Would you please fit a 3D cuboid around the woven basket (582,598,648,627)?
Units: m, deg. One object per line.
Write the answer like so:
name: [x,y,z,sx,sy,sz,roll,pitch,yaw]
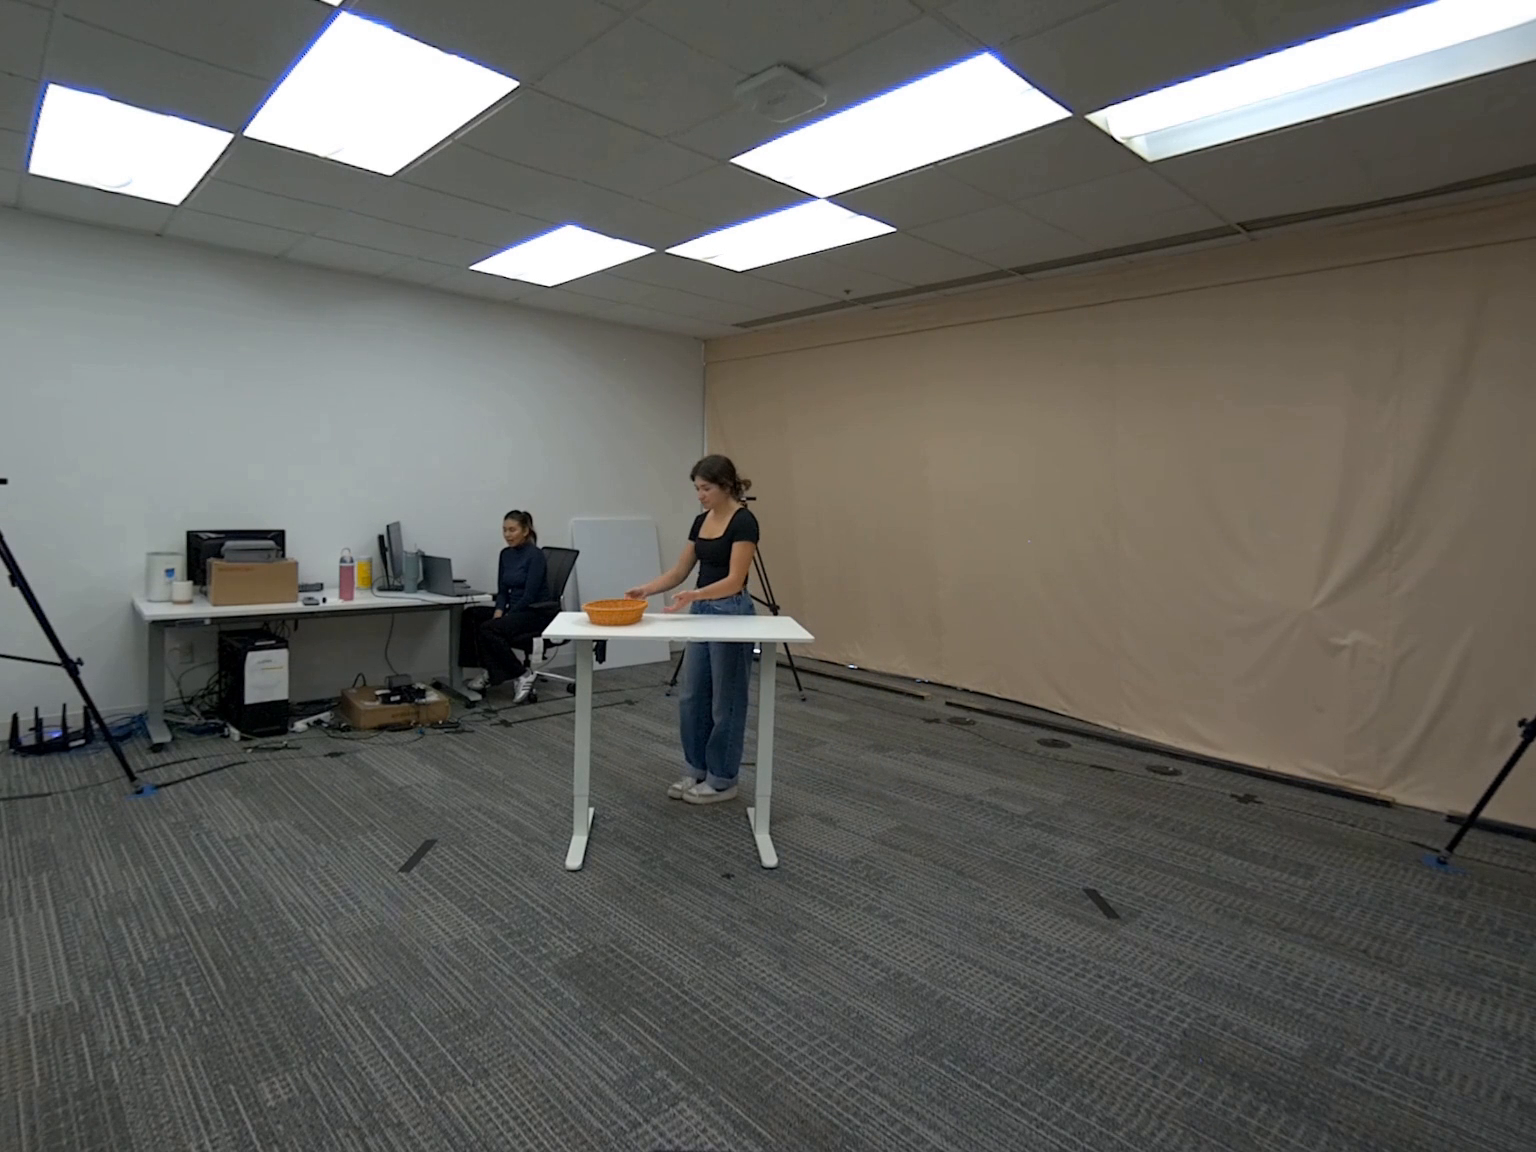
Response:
woven basket: [-0.629,0.153,3.428,0.255,0.073,0.347,2,5,13]
